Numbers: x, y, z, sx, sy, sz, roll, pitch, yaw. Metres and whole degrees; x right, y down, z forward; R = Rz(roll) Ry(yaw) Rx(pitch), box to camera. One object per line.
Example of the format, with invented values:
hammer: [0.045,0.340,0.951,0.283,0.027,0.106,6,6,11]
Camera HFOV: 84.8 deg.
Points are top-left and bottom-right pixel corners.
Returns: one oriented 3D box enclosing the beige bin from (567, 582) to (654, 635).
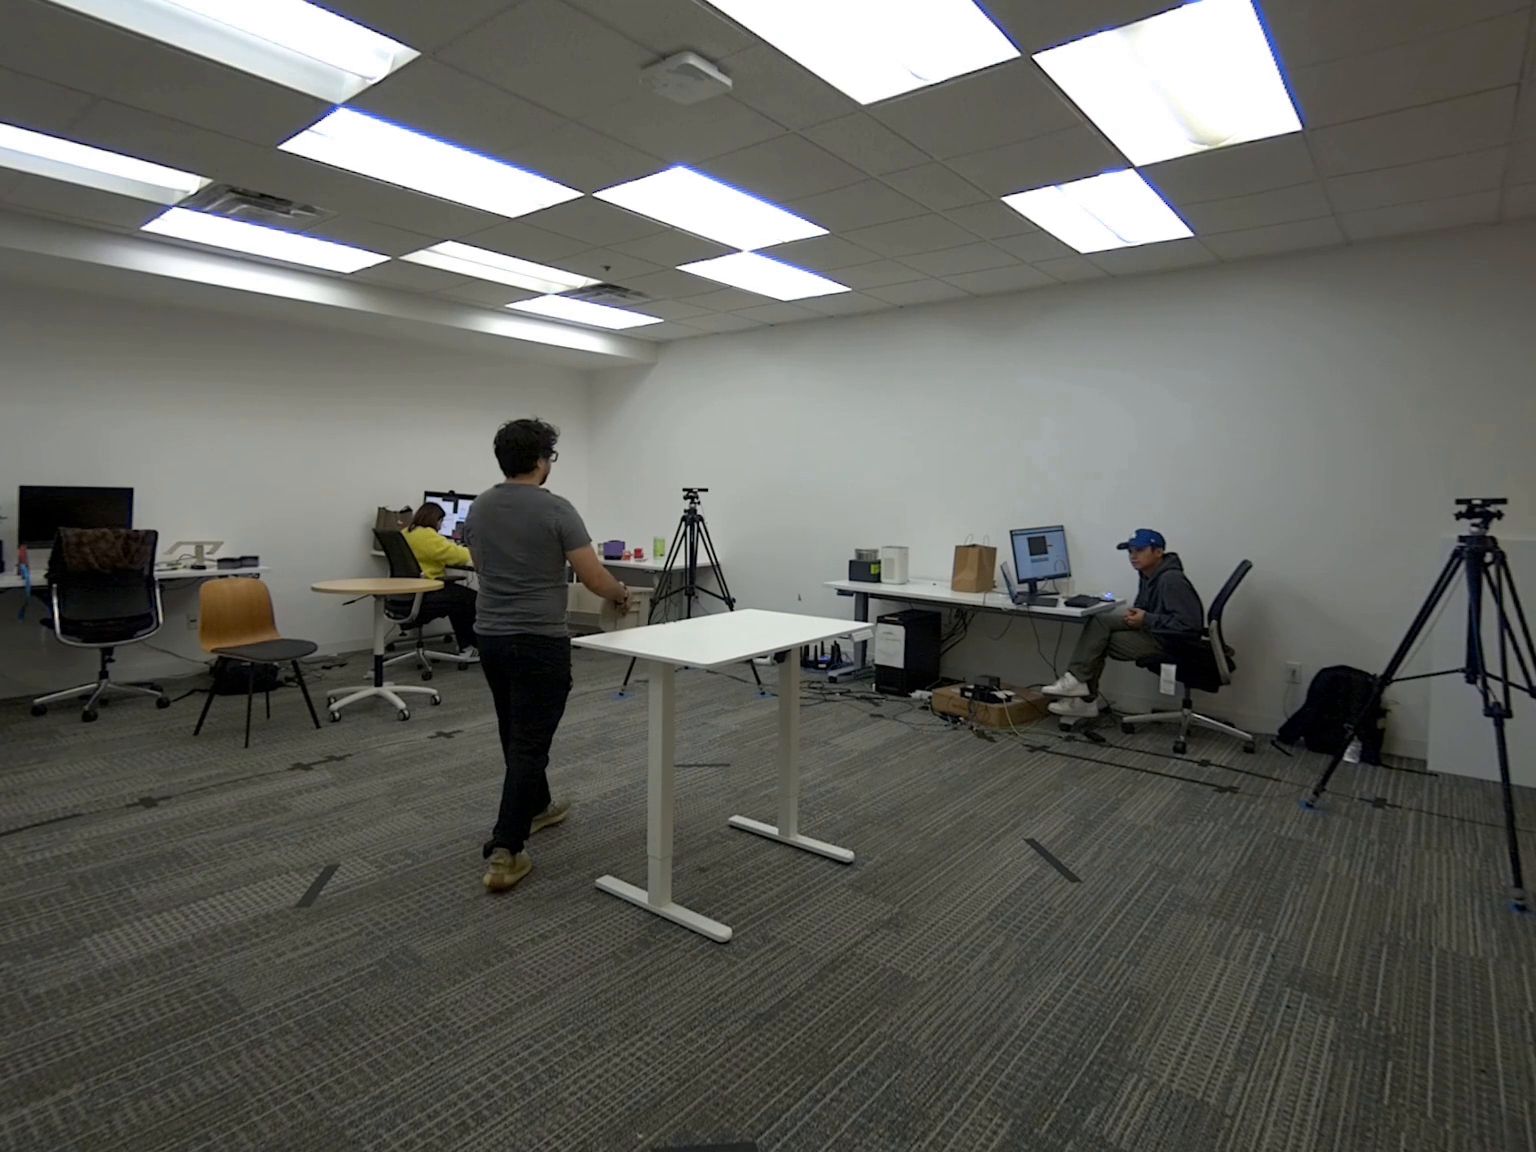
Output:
beige bin: [-0.769,0.126,3.545,0.434,0.189,0.367,3,0,27]
